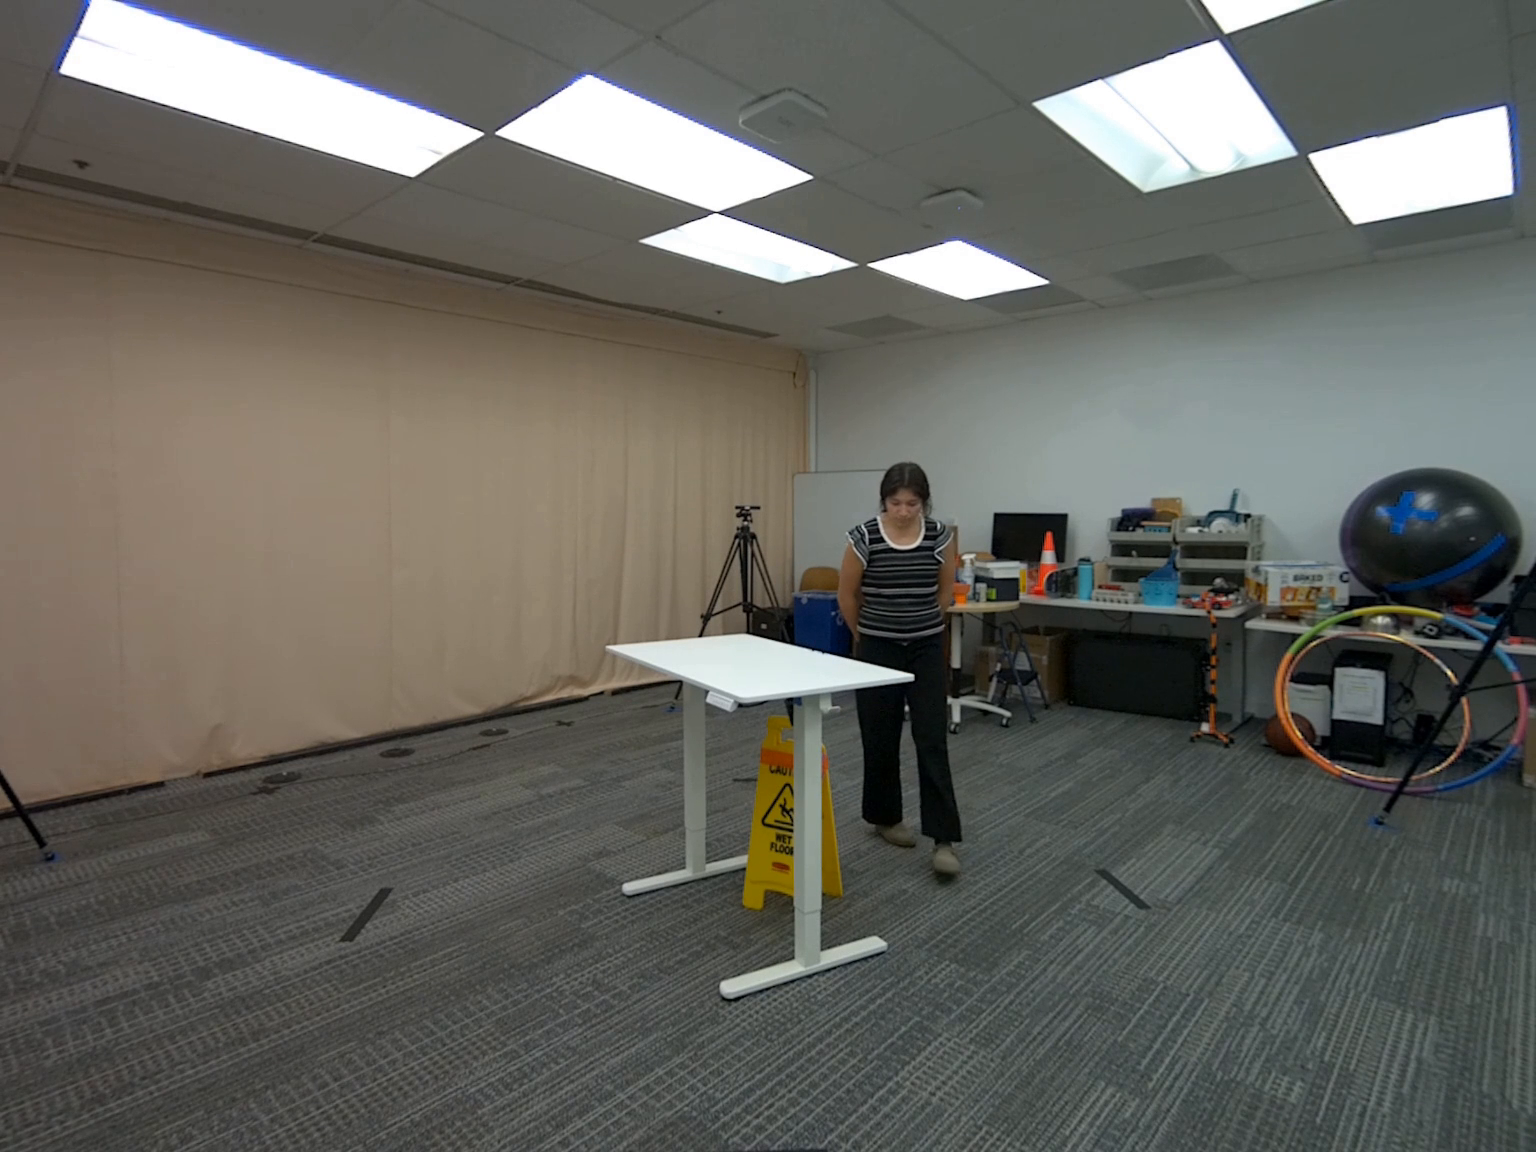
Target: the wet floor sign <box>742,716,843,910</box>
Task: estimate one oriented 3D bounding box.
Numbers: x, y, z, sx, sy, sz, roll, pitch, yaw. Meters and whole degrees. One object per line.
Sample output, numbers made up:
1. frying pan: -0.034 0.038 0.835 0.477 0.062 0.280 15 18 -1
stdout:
1. wet floor sign: 0.092 0.822 2.948 0.290 0.644 0.282 2 4 30
